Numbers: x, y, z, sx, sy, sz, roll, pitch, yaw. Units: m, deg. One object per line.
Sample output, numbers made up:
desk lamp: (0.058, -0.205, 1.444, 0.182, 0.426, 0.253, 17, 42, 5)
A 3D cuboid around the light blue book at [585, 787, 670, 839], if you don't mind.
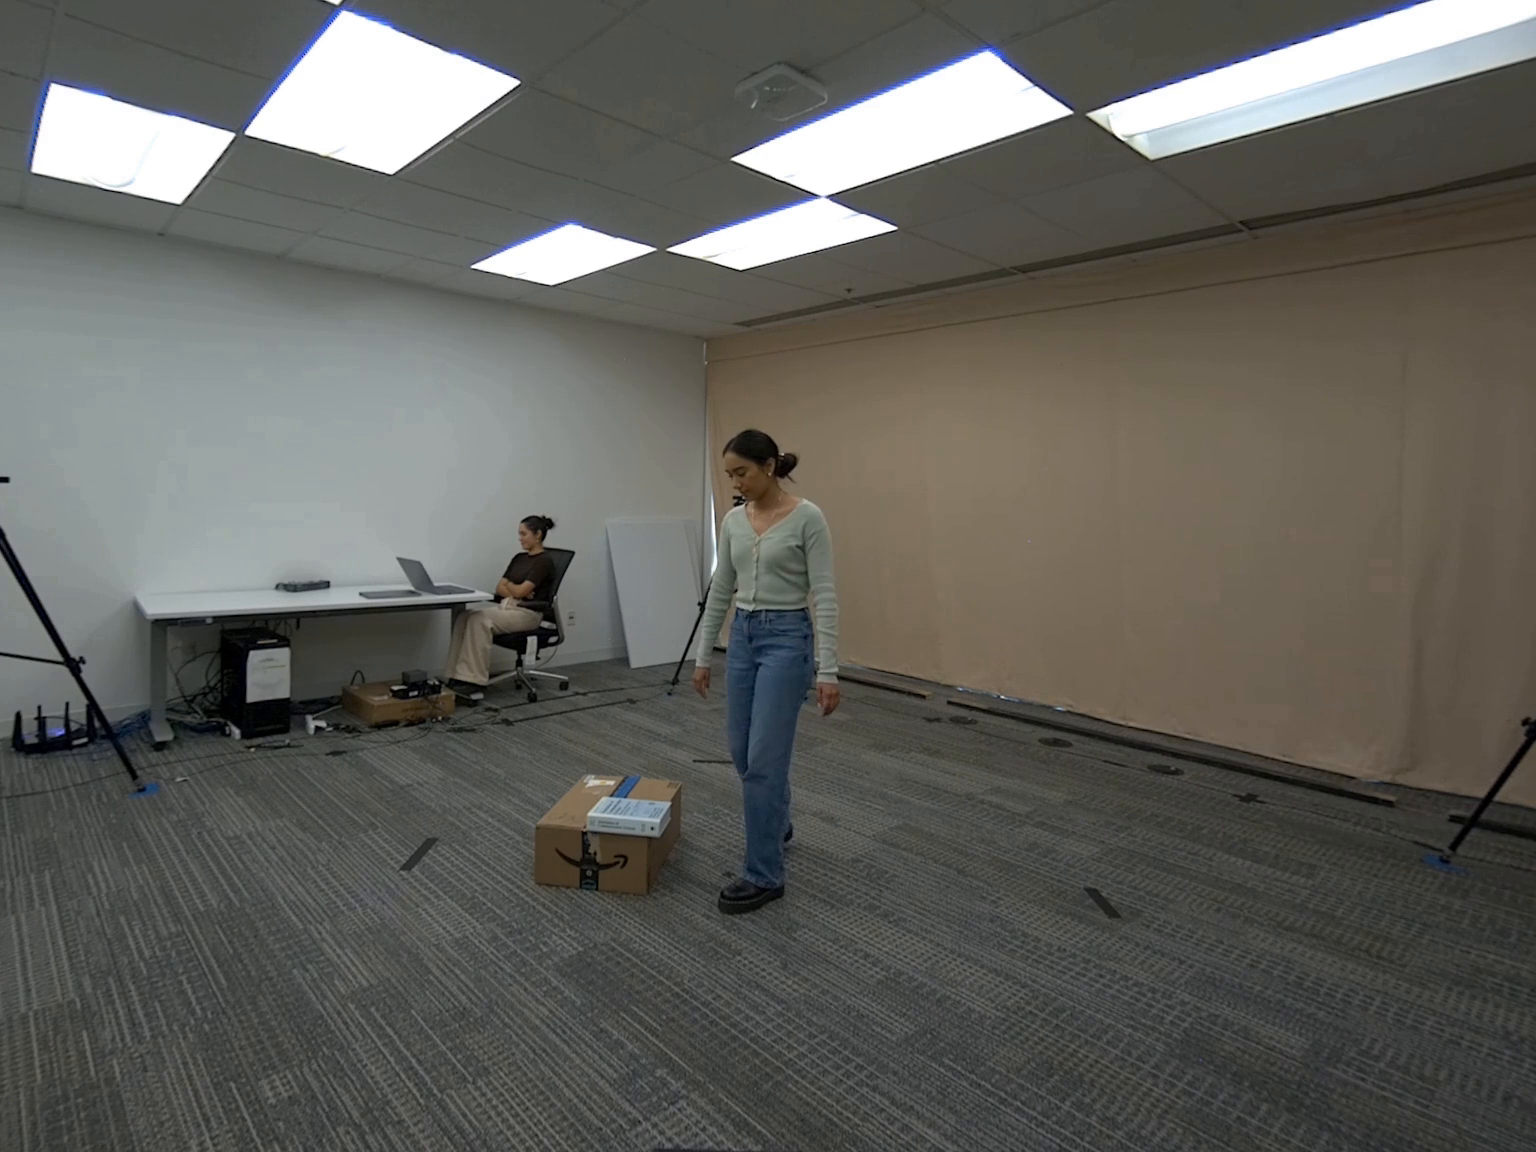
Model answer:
light blue book: (-0.492, 0.851, 3.011, 0.263, 0.059, 0.190, 2, 4, 8)
